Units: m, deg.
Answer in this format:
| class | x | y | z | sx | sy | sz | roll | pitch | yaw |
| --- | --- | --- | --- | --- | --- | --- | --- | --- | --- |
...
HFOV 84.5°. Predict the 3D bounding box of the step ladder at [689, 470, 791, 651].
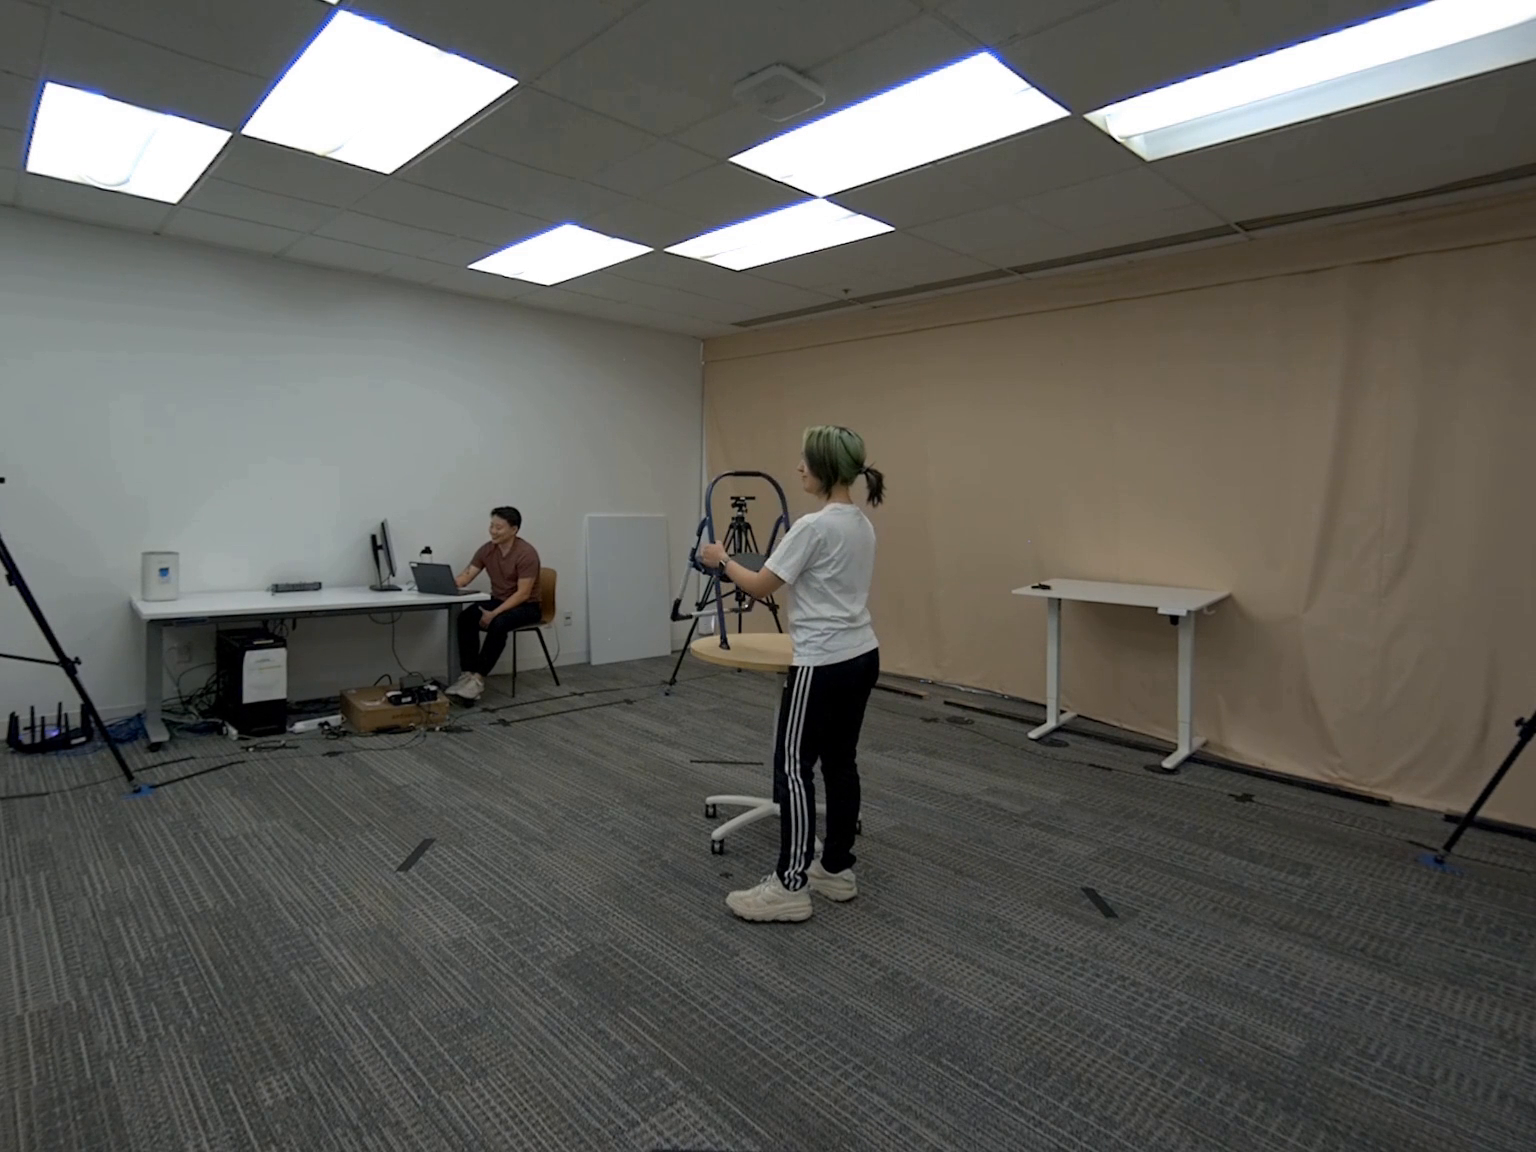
| class | x | y | z | sx | sy | sz | roll | pitch | yaw |
| --- | --- | --- | --- | --- | --- | --- | --- | --- | --- |
| step ladder | -0.082 | -0.087 | 3.212 | 0.421 | 0.602 | 0.360 | -3 | 16 | -43 |
